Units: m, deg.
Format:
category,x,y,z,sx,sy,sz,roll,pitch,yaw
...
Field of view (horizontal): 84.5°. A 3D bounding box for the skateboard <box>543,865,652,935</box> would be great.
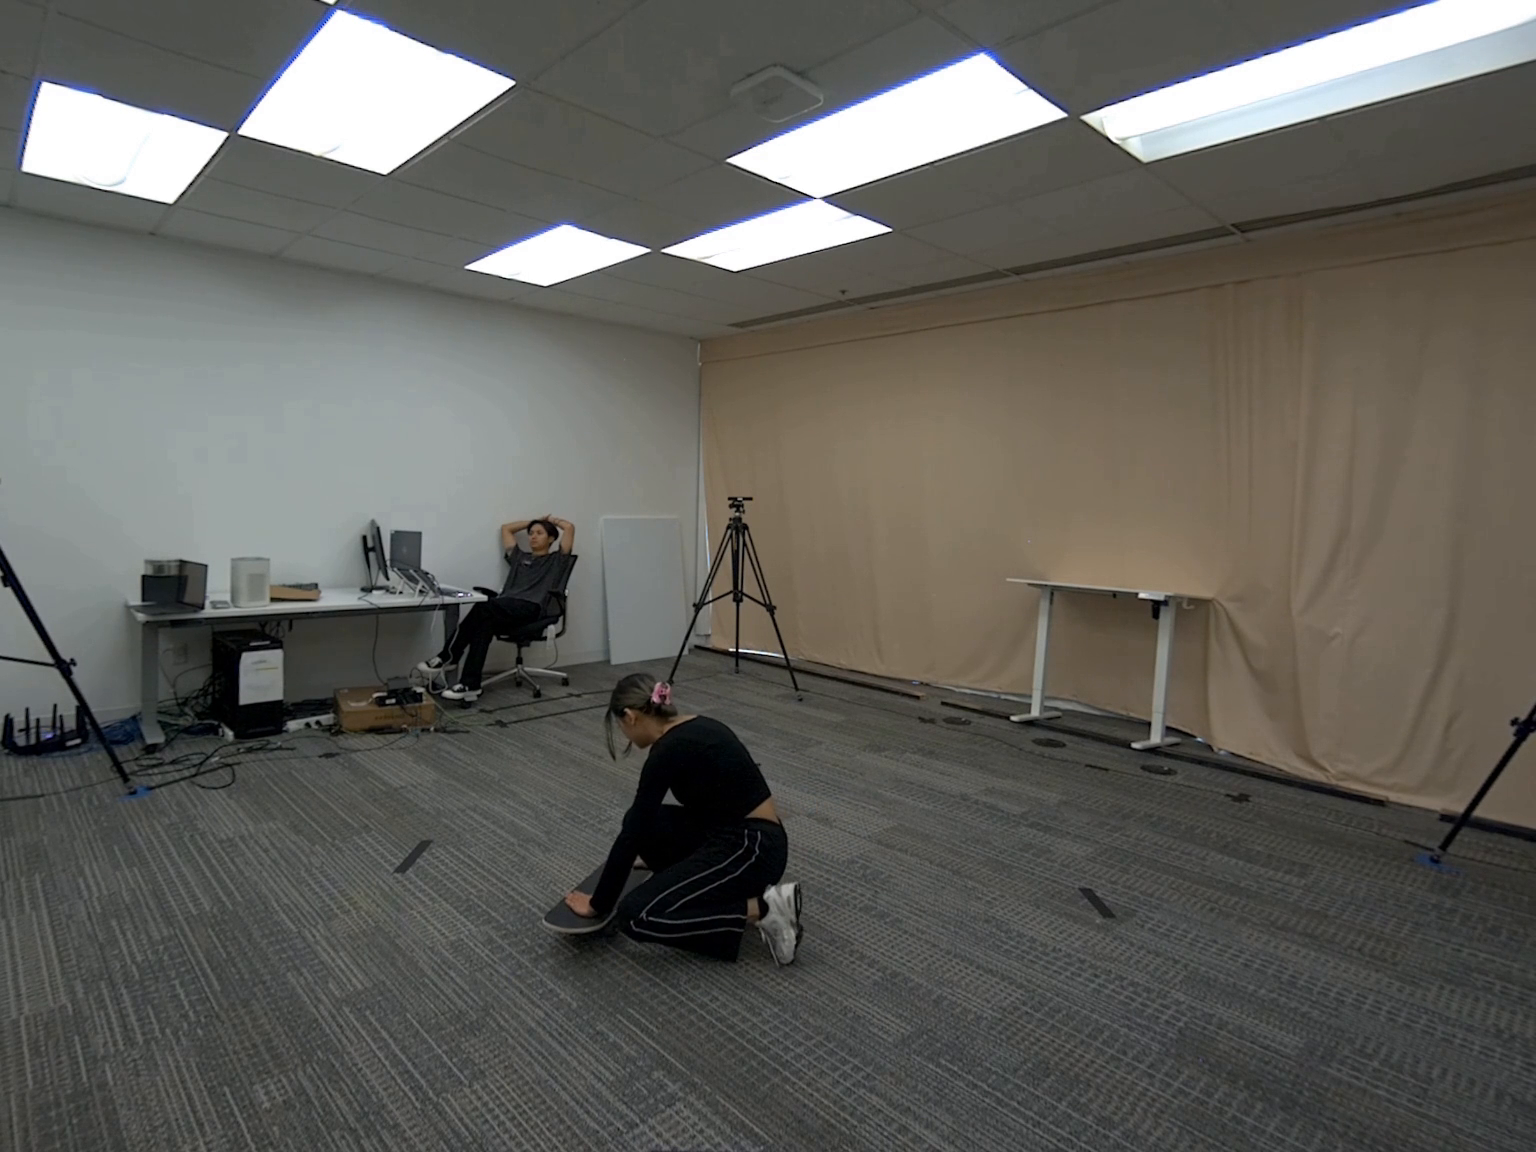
category,x,y,z,sx,sy,sz,roll,pitch,yaw
skateboard,-0.516,1.064,2.879,0.196,0.110,0.777,3,6,16
